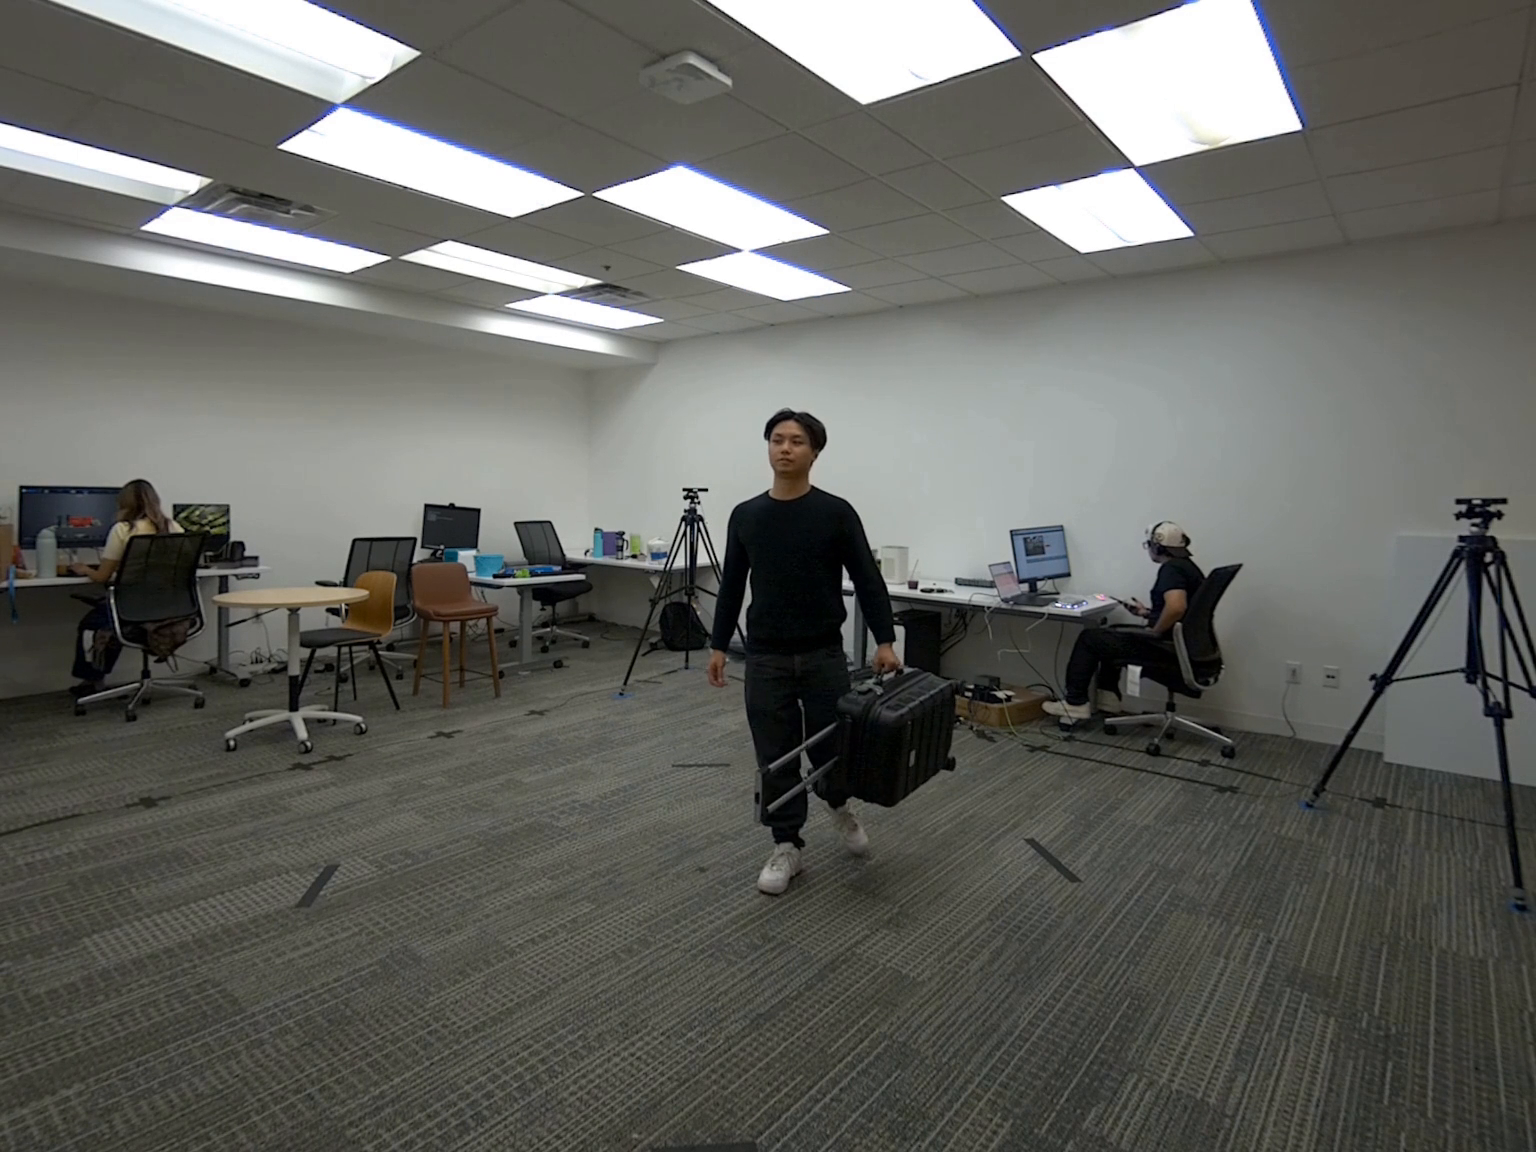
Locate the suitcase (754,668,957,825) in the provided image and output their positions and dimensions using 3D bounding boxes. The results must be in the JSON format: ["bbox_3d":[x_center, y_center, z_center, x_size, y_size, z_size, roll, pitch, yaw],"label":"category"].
[{"bbox_3d":[0.338,0.573,2.804,0.266,0.380,0.956,10,14,31],"label":"suitcase"}]
